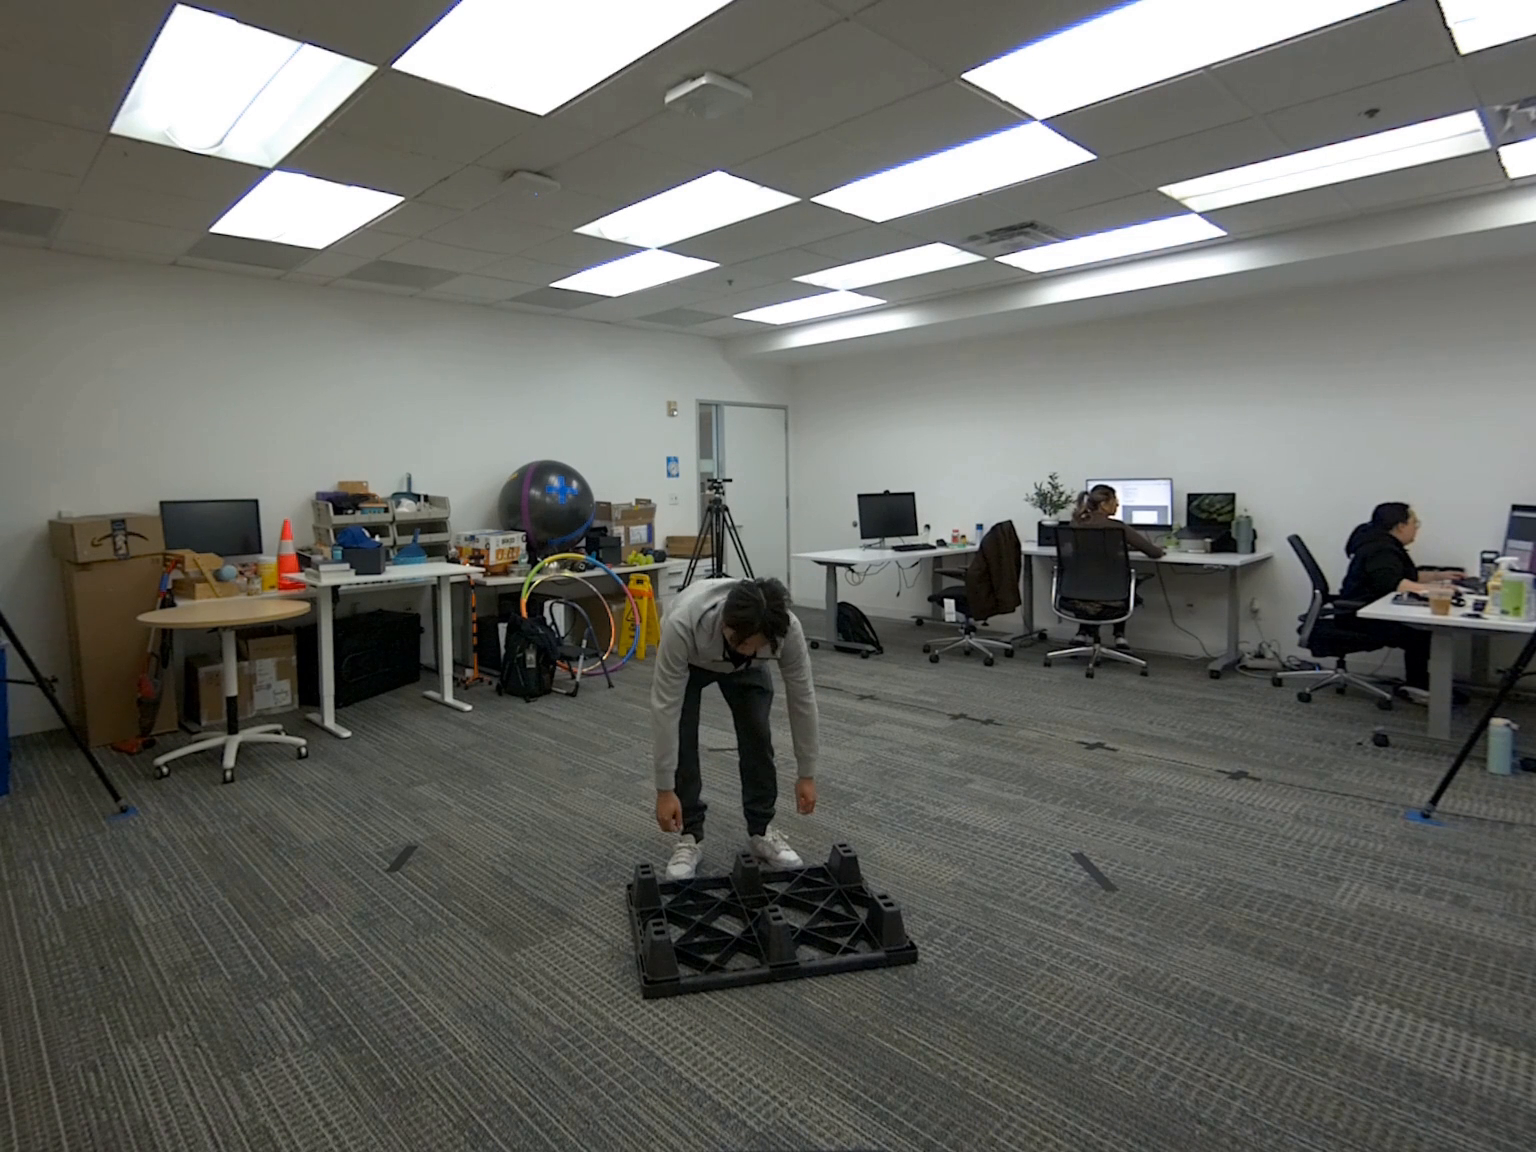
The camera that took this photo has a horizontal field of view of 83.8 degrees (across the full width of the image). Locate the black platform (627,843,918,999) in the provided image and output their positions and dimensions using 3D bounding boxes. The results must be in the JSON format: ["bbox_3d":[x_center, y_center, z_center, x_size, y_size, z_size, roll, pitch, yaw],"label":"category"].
[{"bbox_3d":[-0.017,1.030,2.668,0.796,0.142,0.615,-2,7,-12],"label":"black platform"}]
